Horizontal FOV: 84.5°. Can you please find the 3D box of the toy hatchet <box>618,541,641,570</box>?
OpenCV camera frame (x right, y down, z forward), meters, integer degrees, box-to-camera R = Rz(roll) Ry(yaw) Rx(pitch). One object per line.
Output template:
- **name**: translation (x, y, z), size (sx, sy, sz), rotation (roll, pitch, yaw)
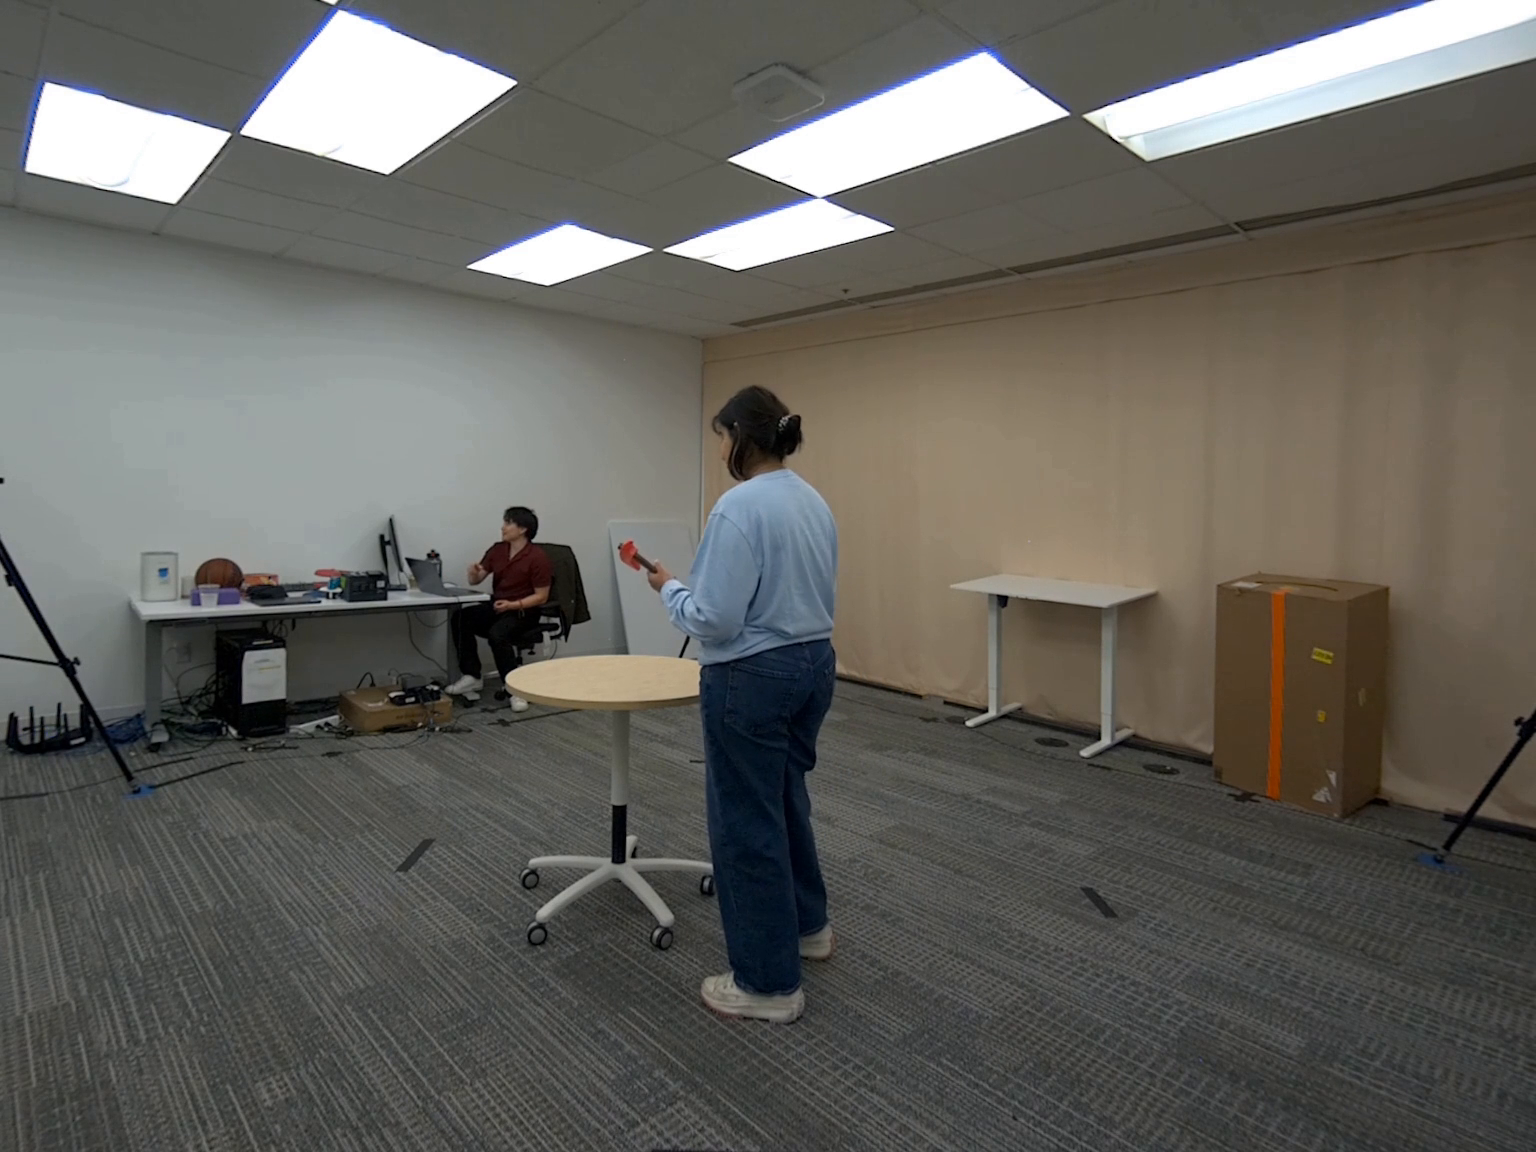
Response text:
- **toy hatchet**: translation (-0.320, 0.006, 2.371), size (0.132, 0.266, 0.030), rotation (-25, 24, 53)
